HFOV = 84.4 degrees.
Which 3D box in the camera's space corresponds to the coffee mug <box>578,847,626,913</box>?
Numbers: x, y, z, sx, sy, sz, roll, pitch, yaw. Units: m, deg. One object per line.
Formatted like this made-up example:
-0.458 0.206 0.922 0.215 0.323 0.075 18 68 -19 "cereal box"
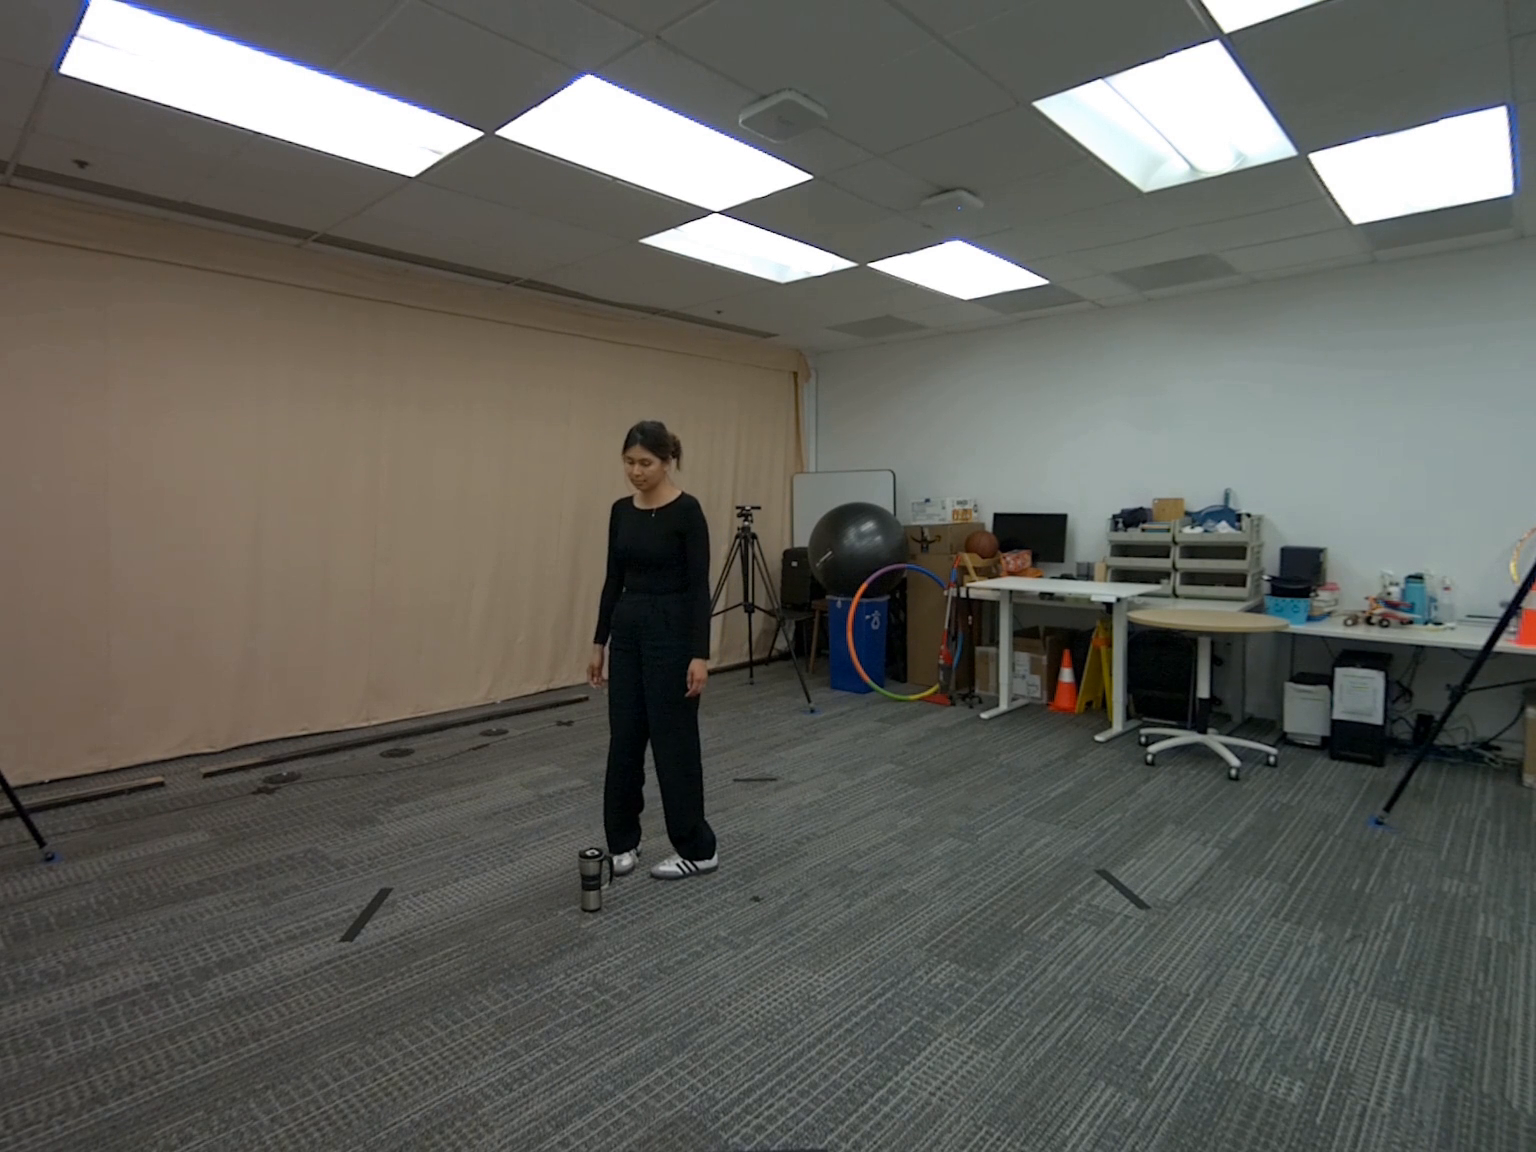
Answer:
-0.596 1.052 2.917 0.125 0.203 0.085 -3 -2 35 "coffee mug"
